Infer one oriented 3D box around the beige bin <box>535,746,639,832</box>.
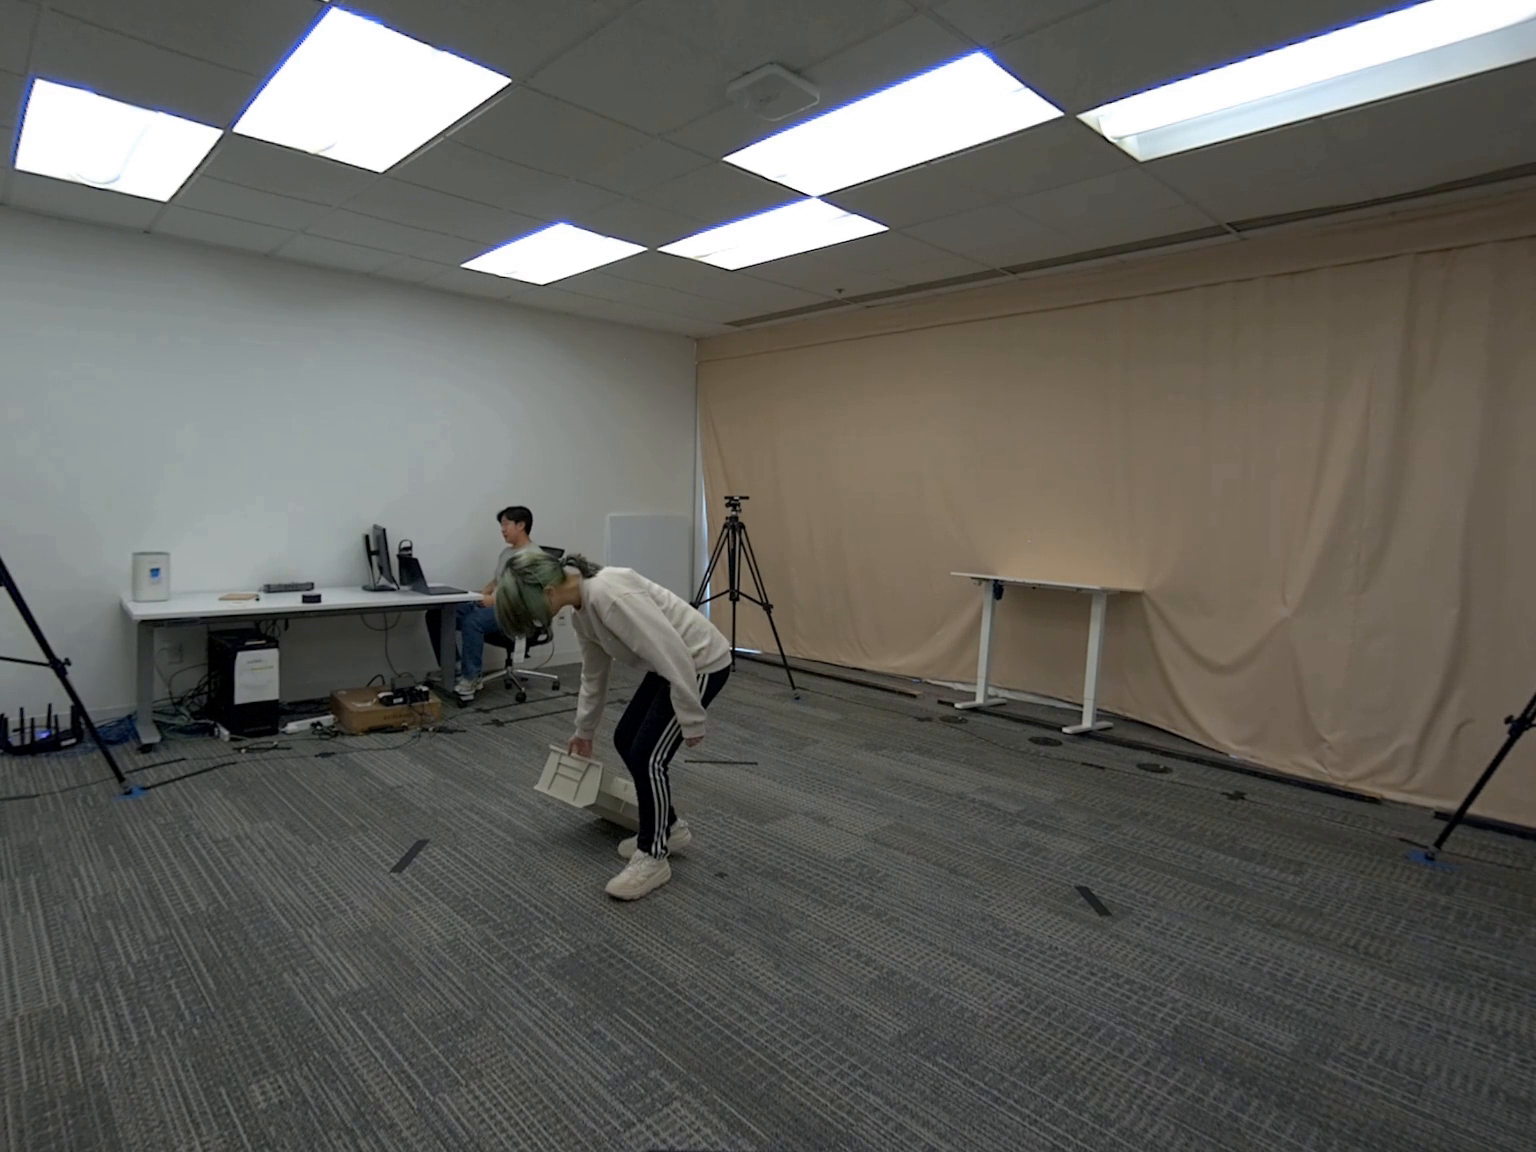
[{"bbox_3d":[-0.671,0.881,3.413,0.387,0.190,0.409,4,-25,41],"label":"beige bin"}]
